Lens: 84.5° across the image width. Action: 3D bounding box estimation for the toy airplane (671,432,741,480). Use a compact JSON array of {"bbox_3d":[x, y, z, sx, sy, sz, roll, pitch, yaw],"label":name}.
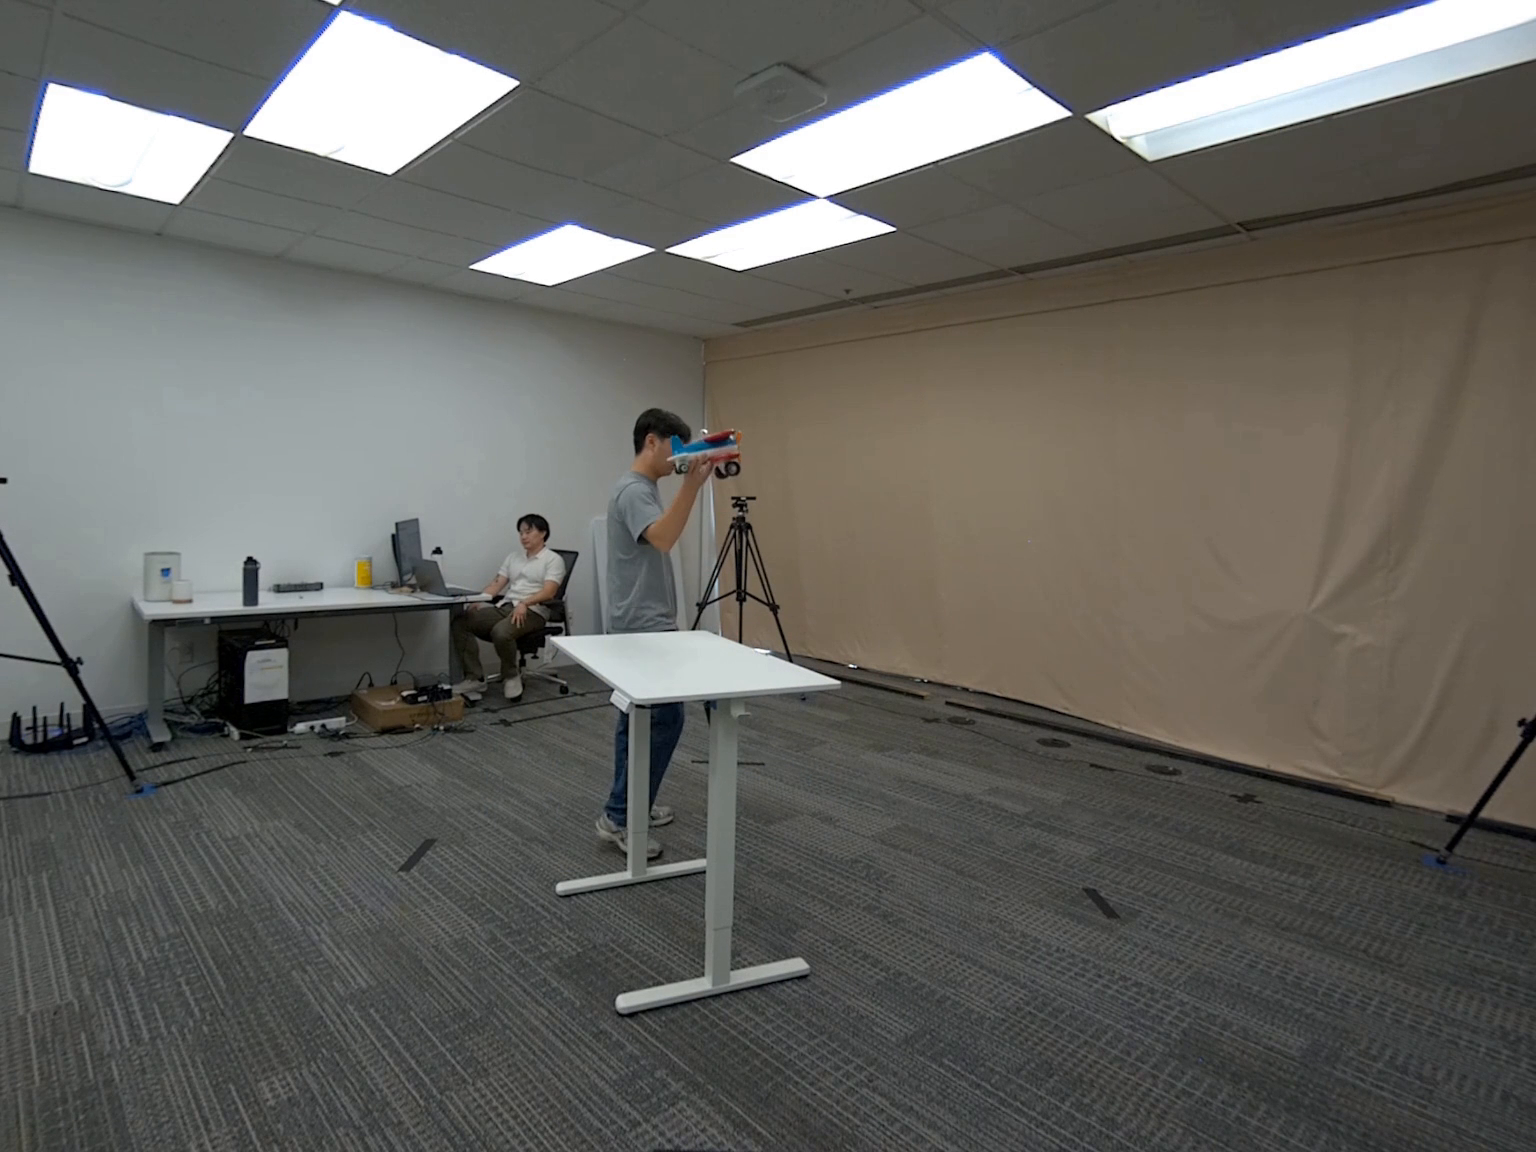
[{"bbox_3d":[-0.211,-0.420,2.918,0.256,0.157,0.253,-2,-3,36],"label":"toy airplane"}]
